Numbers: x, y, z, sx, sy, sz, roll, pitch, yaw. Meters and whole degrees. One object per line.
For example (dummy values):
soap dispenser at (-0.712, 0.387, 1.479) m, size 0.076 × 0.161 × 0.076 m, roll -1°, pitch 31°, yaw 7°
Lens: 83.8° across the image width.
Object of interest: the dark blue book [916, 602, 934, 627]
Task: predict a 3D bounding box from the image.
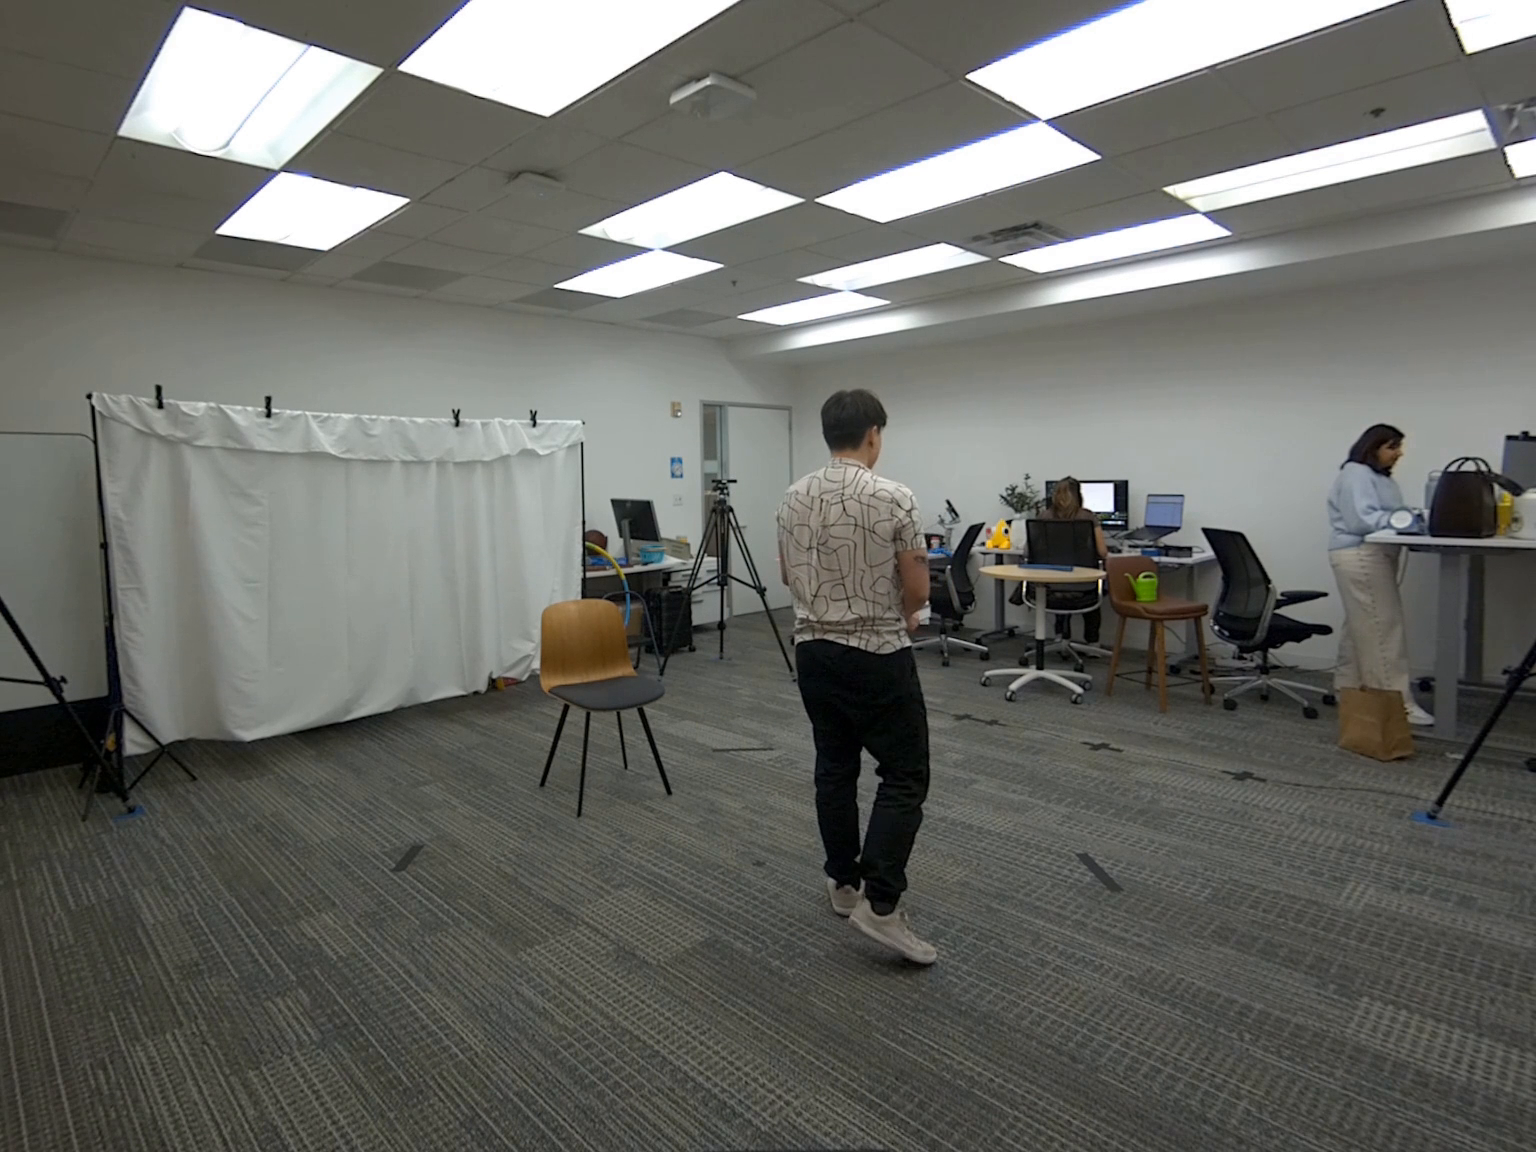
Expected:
dark blue book at (0.448, 0.135, 2.971) m, size 0.168 × 0.045 × 0.240 m, roll 1°, pitch 9°, yaw 36°
